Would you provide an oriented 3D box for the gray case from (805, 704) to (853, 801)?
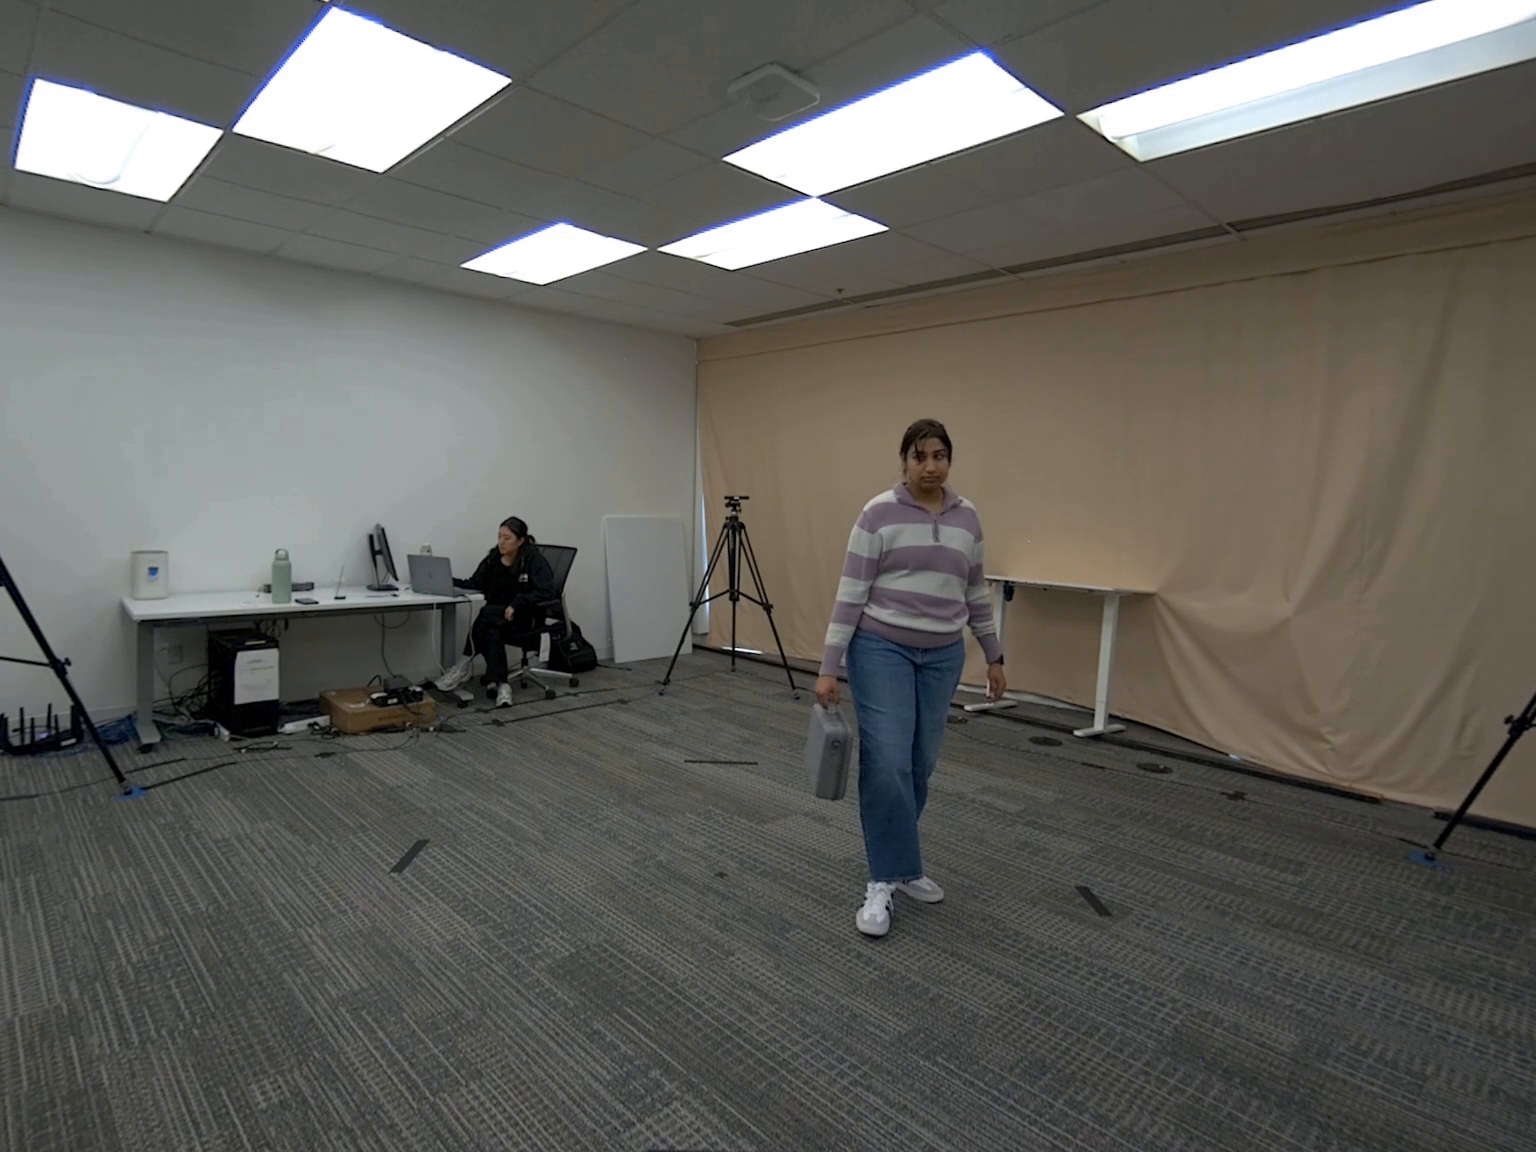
[{"bbox_3d":[0.200,0.584,2.830,0.104,0.259,0.259,2,9,-4],"label":"gray case"}]
